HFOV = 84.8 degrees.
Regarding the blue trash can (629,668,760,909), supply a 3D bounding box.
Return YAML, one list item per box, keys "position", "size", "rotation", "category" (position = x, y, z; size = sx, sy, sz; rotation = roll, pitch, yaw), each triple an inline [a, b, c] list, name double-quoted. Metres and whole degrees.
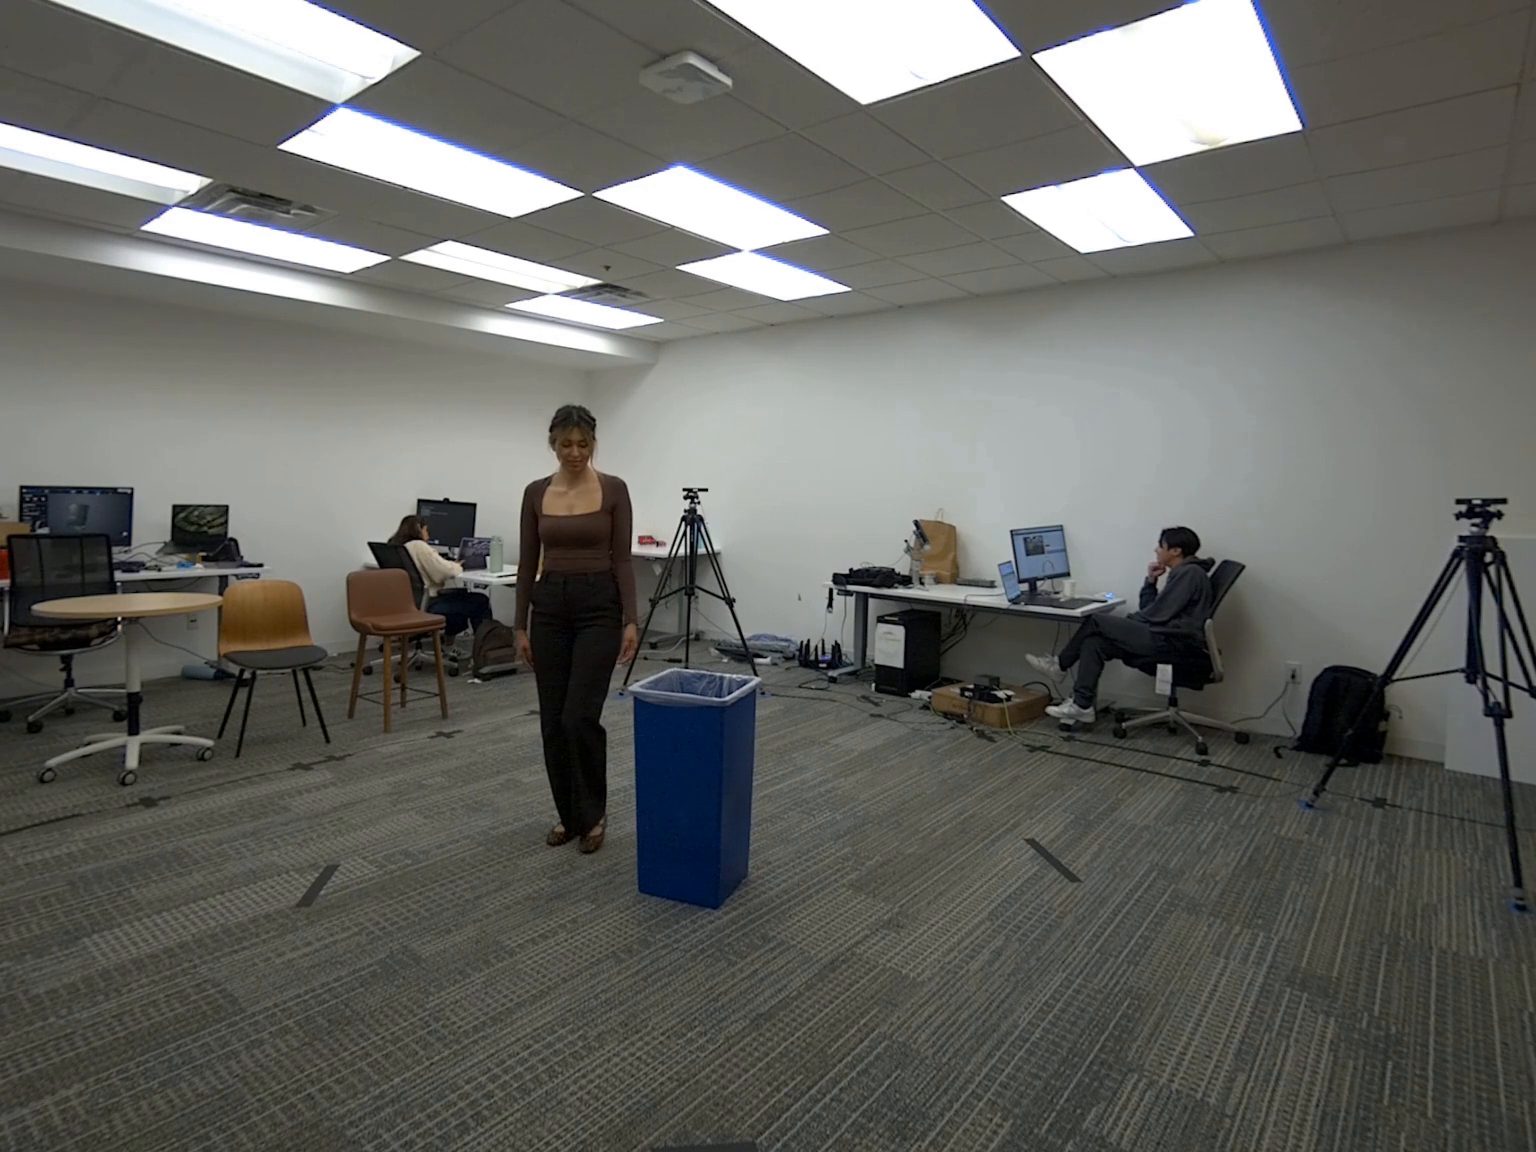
- position: [-0.262, 0.722, 2.974]
  size: [0.386, 0.712, 0.367]
  rotation: [2, 3, 21]
  category: "blue trash can"
